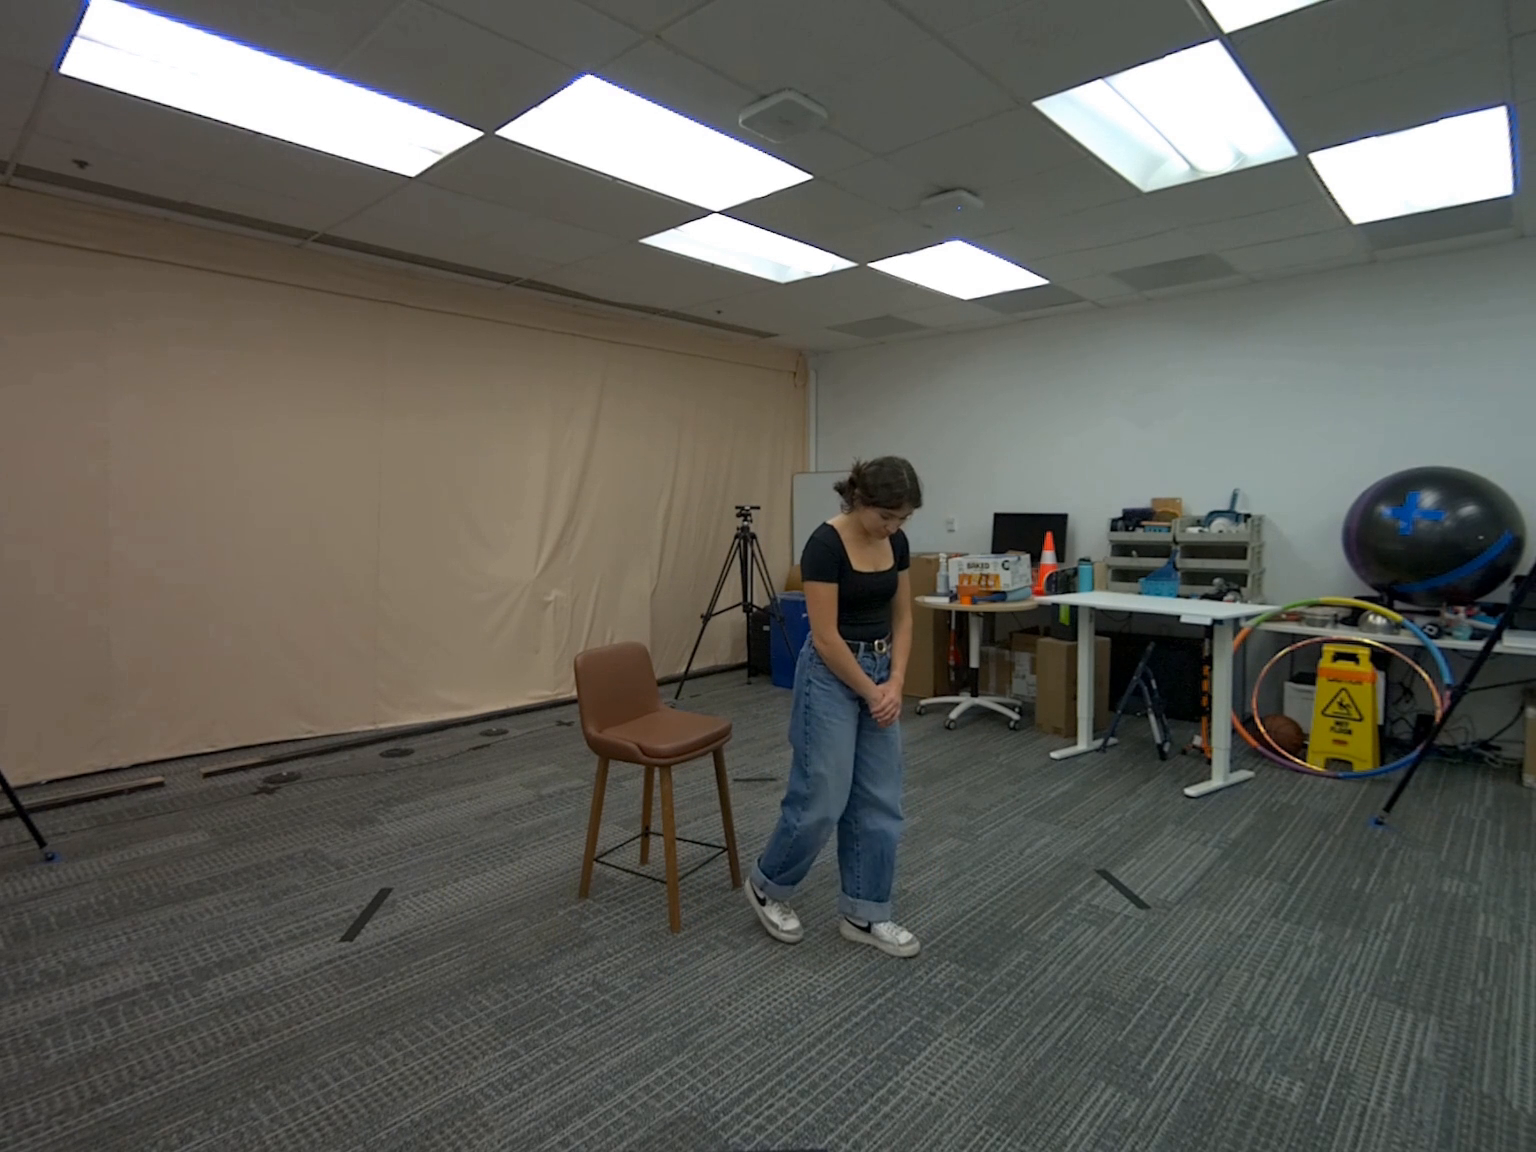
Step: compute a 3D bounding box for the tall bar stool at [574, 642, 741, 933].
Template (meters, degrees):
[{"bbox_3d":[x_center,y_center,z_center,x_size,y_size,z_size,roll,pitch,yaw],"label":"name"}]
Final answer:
[{"bbox_3d":[-0.396,0.709,3.019,0.481,0.888,0.444,0,3,33],"label":"tall bar stool"}]
